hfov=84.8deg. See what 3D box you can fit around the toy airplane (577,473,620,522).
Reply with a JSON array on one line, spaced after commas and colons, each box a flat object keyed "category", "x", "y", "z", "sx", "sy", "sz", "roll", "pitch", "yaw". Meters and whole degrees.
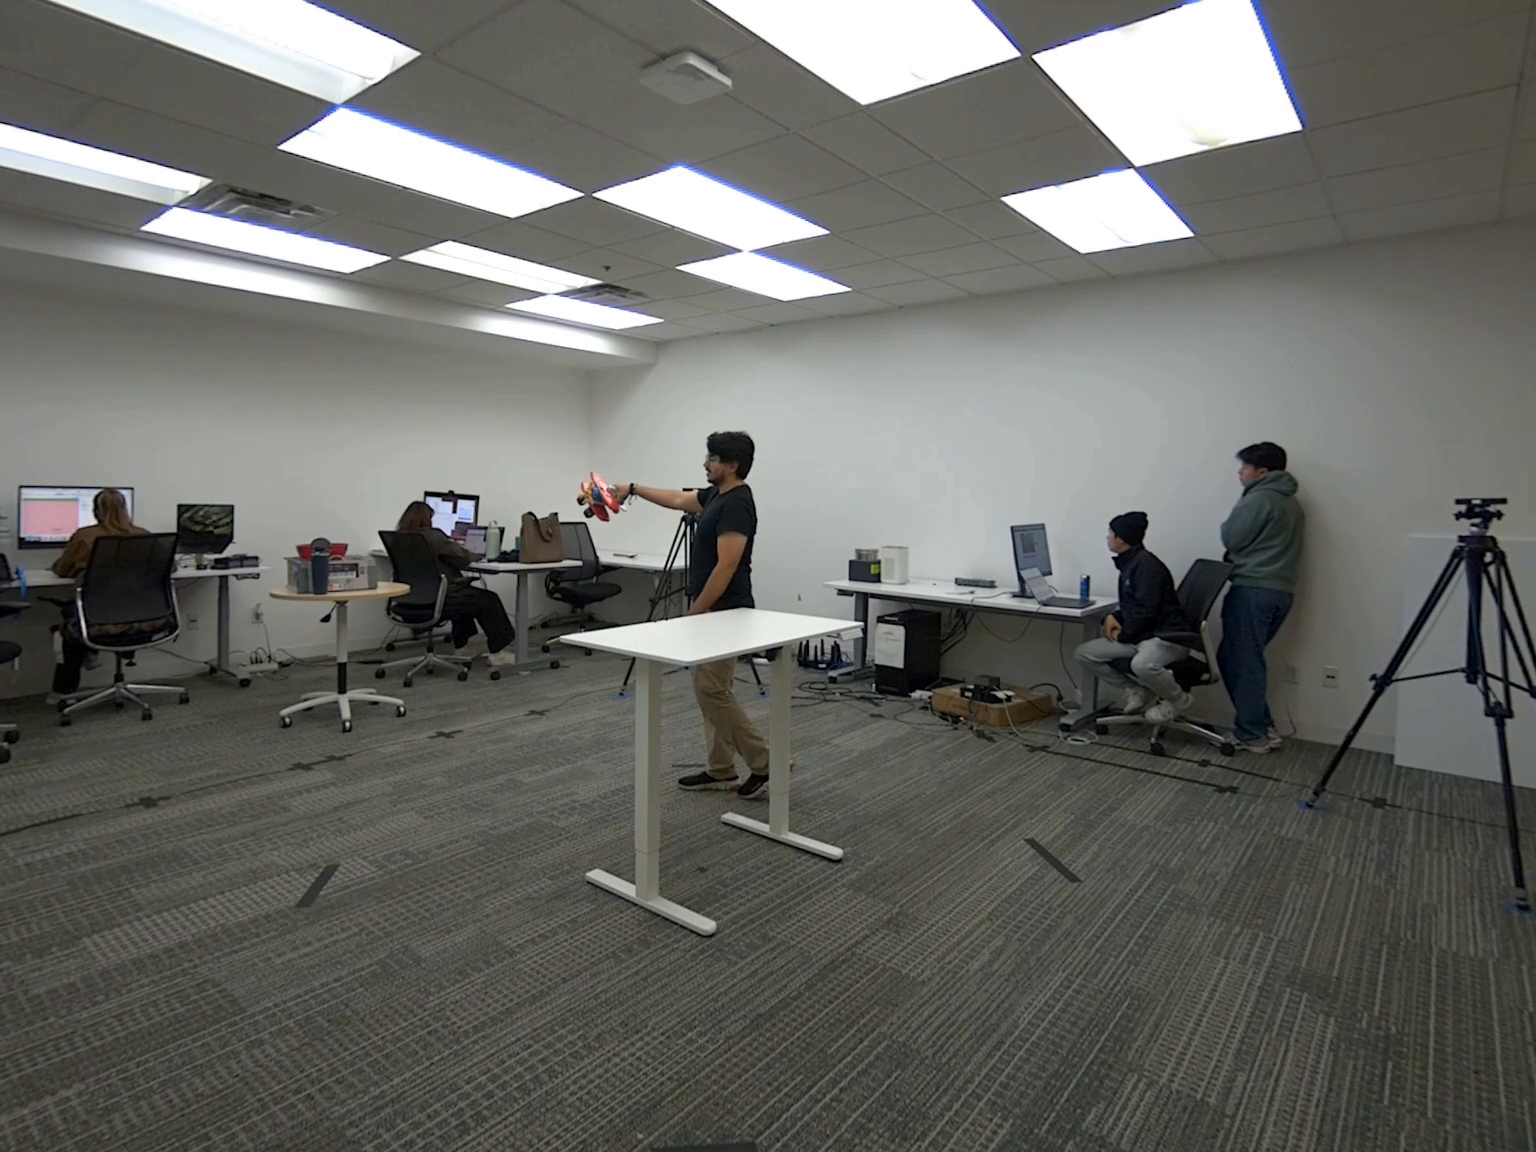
[{"category": "toy airplane", "x": -0.831, "y": -0.395, "z": 4.212, "sx": 0.253, "sy": 0.156, "sz": 0.258, "roll": 41, "pitch": 36, "yaw": 3}]
